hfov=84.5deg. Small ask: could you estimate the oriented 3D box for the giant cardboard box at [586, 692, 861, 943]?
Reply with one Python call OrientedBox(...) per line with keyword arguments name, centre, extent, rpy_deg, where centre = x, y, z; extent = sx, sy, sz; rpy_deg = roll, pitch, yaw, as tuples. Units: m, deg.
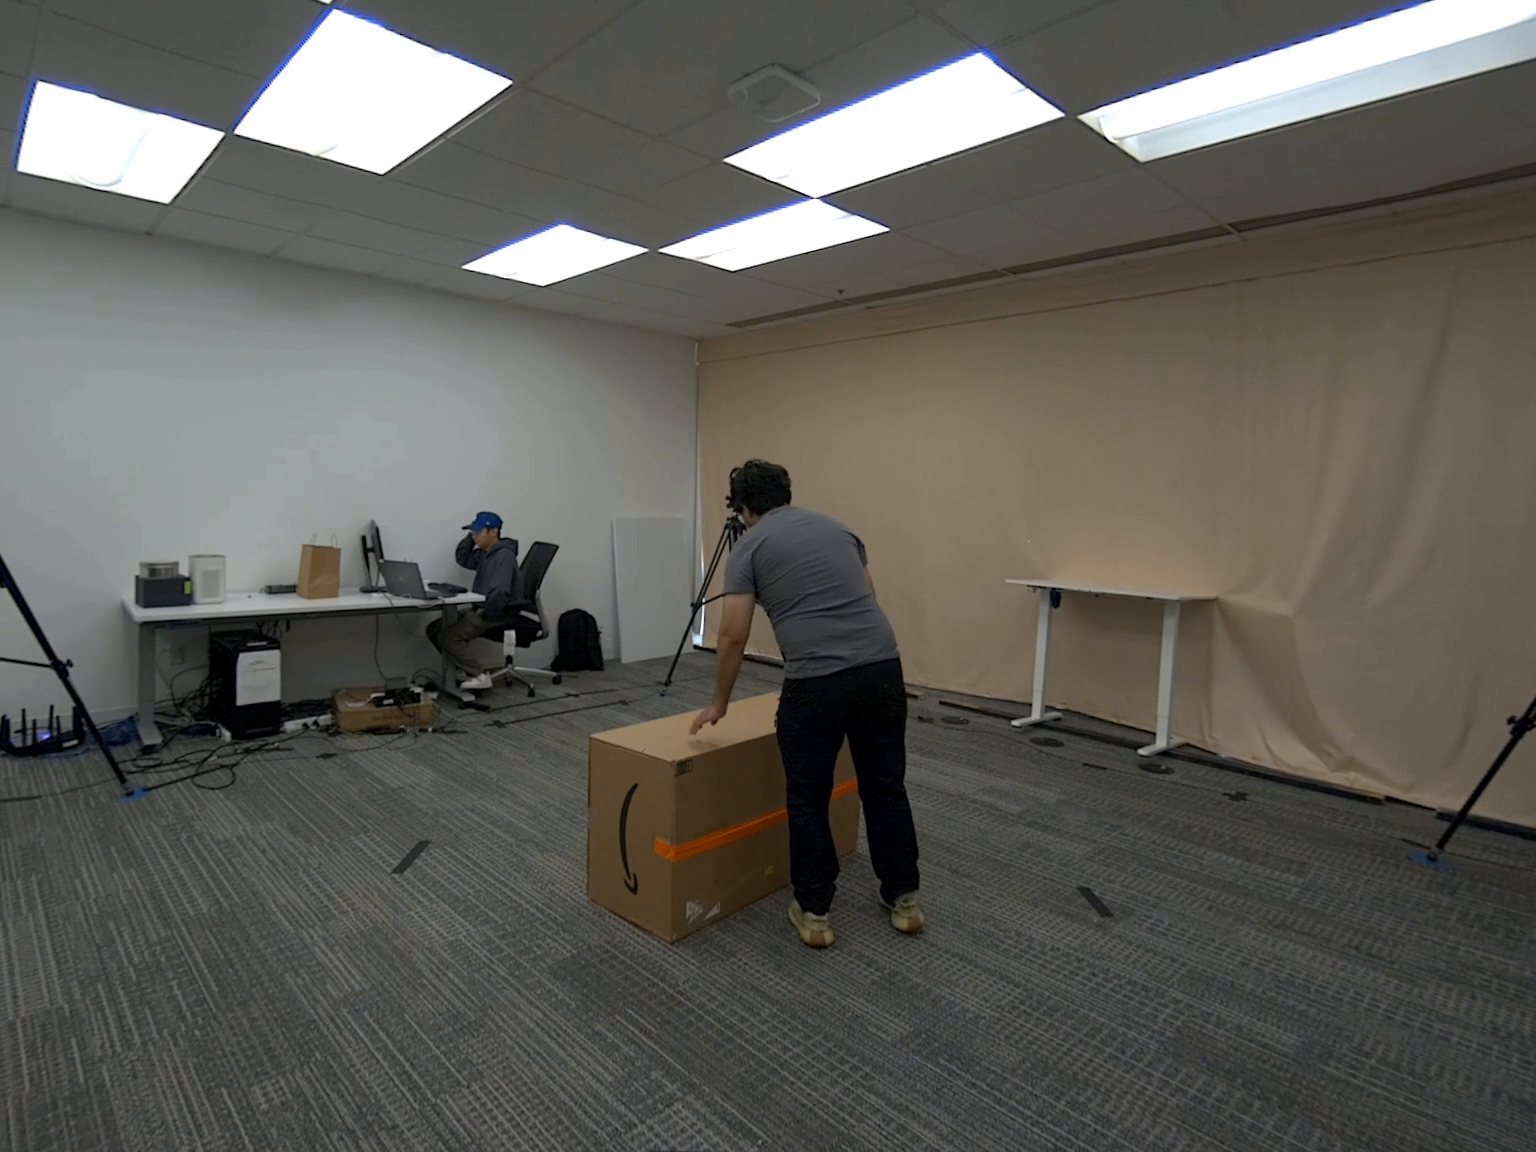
OrientedBox(name="giant cardboard box", centre=(-0.130, 0.816, 3.112), extent=(0.437, 0.576, 1.003), rpy_deg=(5, 6, 41))
